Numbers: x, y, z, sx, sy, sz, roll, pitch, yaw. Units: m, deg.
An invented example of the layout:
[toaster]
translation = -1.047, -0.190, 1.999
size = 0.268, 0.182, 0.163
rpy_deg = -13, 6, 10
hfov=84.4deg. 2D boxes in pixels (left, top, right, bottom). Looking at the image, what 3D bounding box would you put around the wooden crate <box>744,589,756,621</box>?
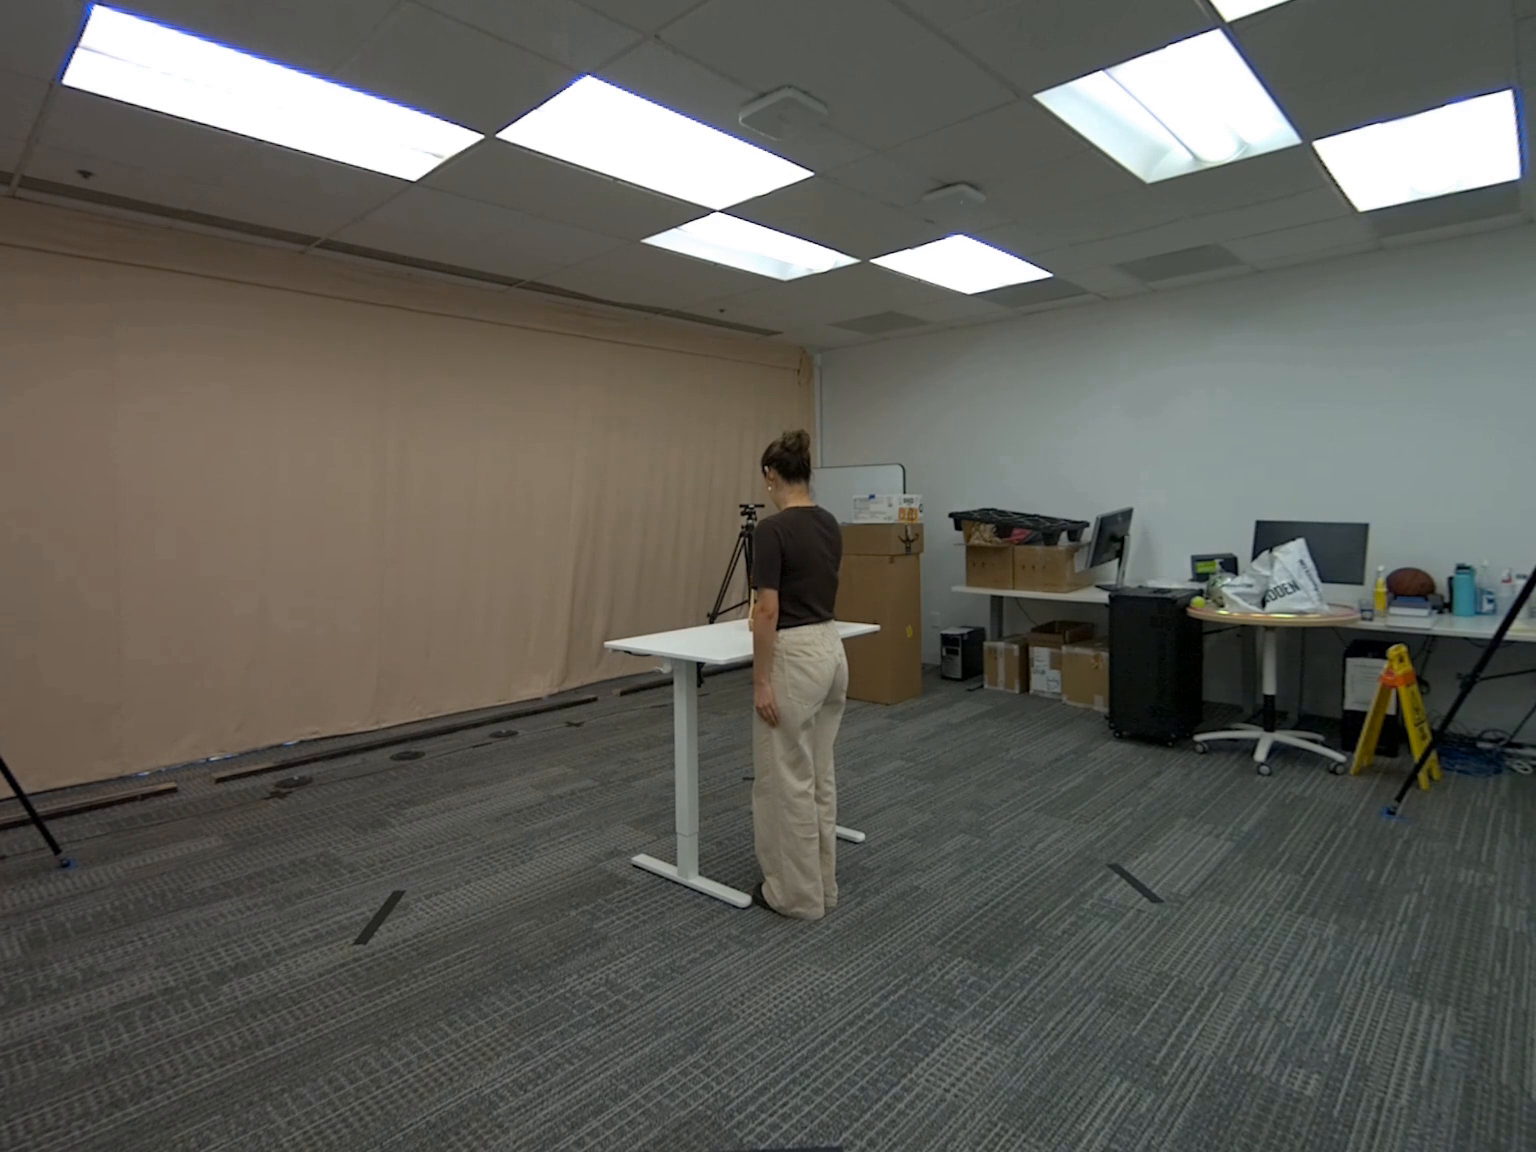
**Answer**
[wooden crate]
translation = 0.095, 0.081, 3.490
size = 0.328, 0.273, 0.299
rpy_deg = 0, 2, 8
